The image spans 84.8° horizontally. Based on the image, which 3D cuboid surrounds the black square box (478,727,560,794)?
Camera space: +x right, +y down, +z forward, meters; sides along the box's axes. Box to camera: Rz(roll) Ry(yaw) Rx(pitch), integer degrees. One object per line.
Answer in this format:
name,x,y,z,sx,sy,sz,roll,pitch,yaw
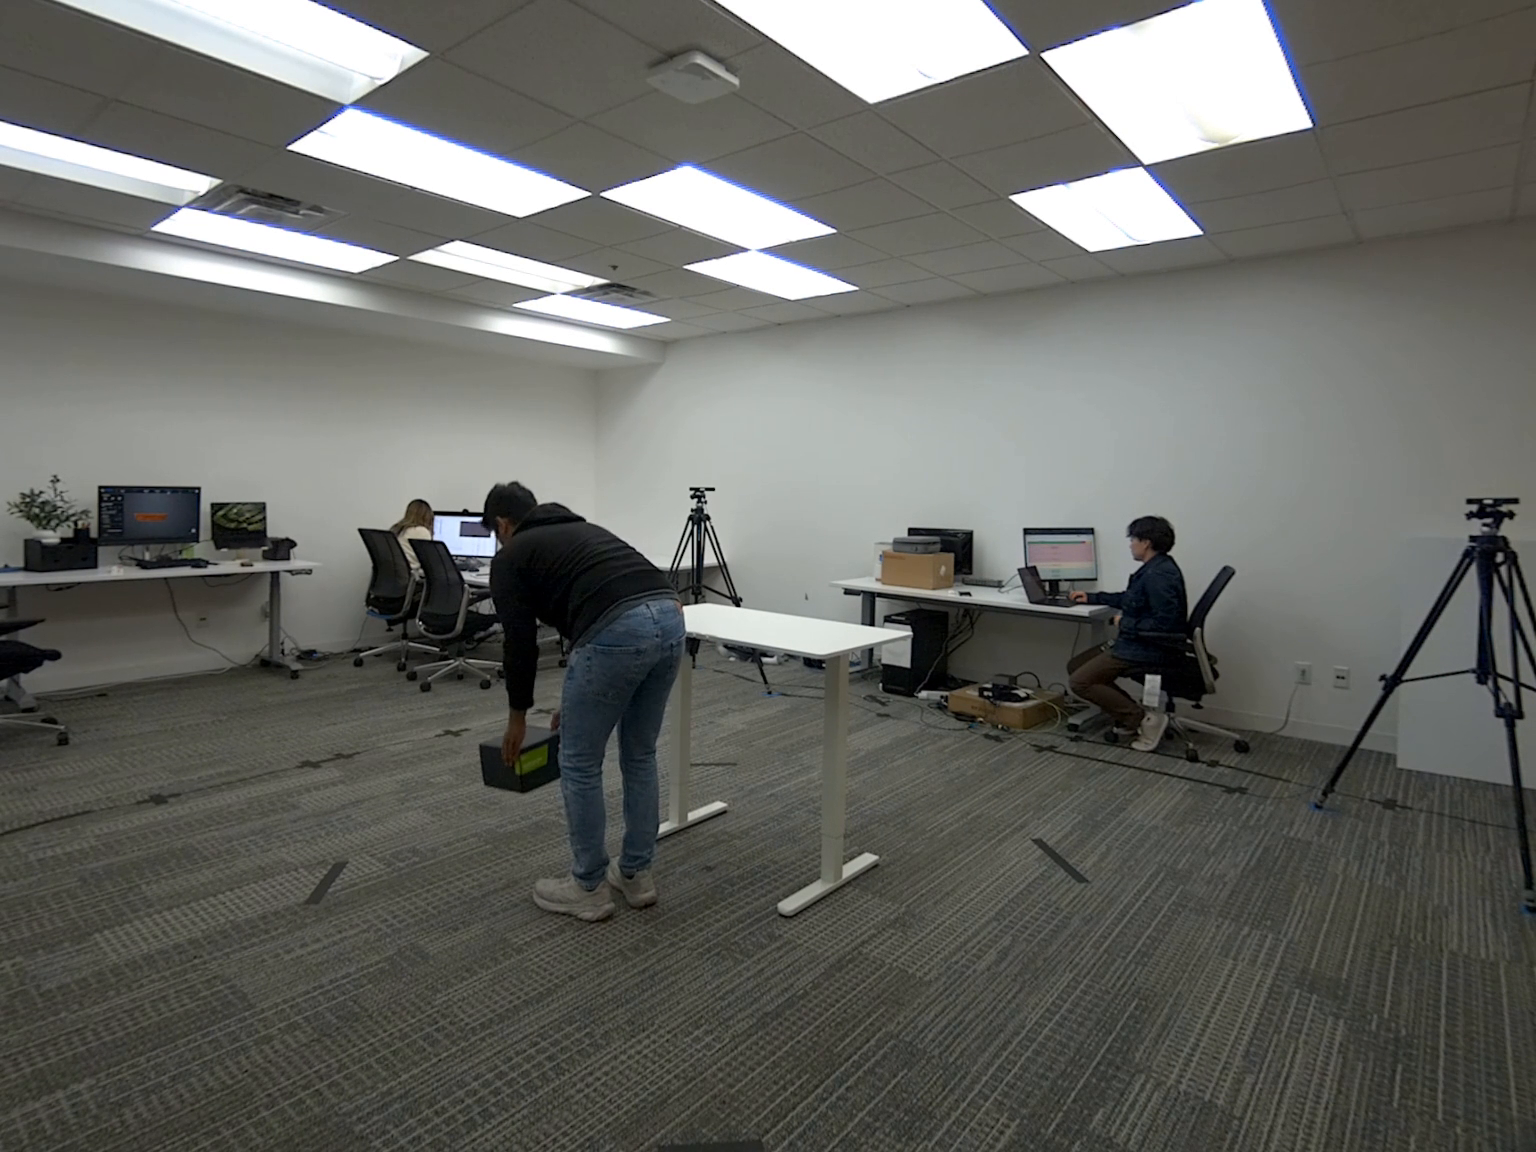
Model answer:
black square box,-0.879,0.645,3.037,0.223,0.155,0.222,-1,7,35
